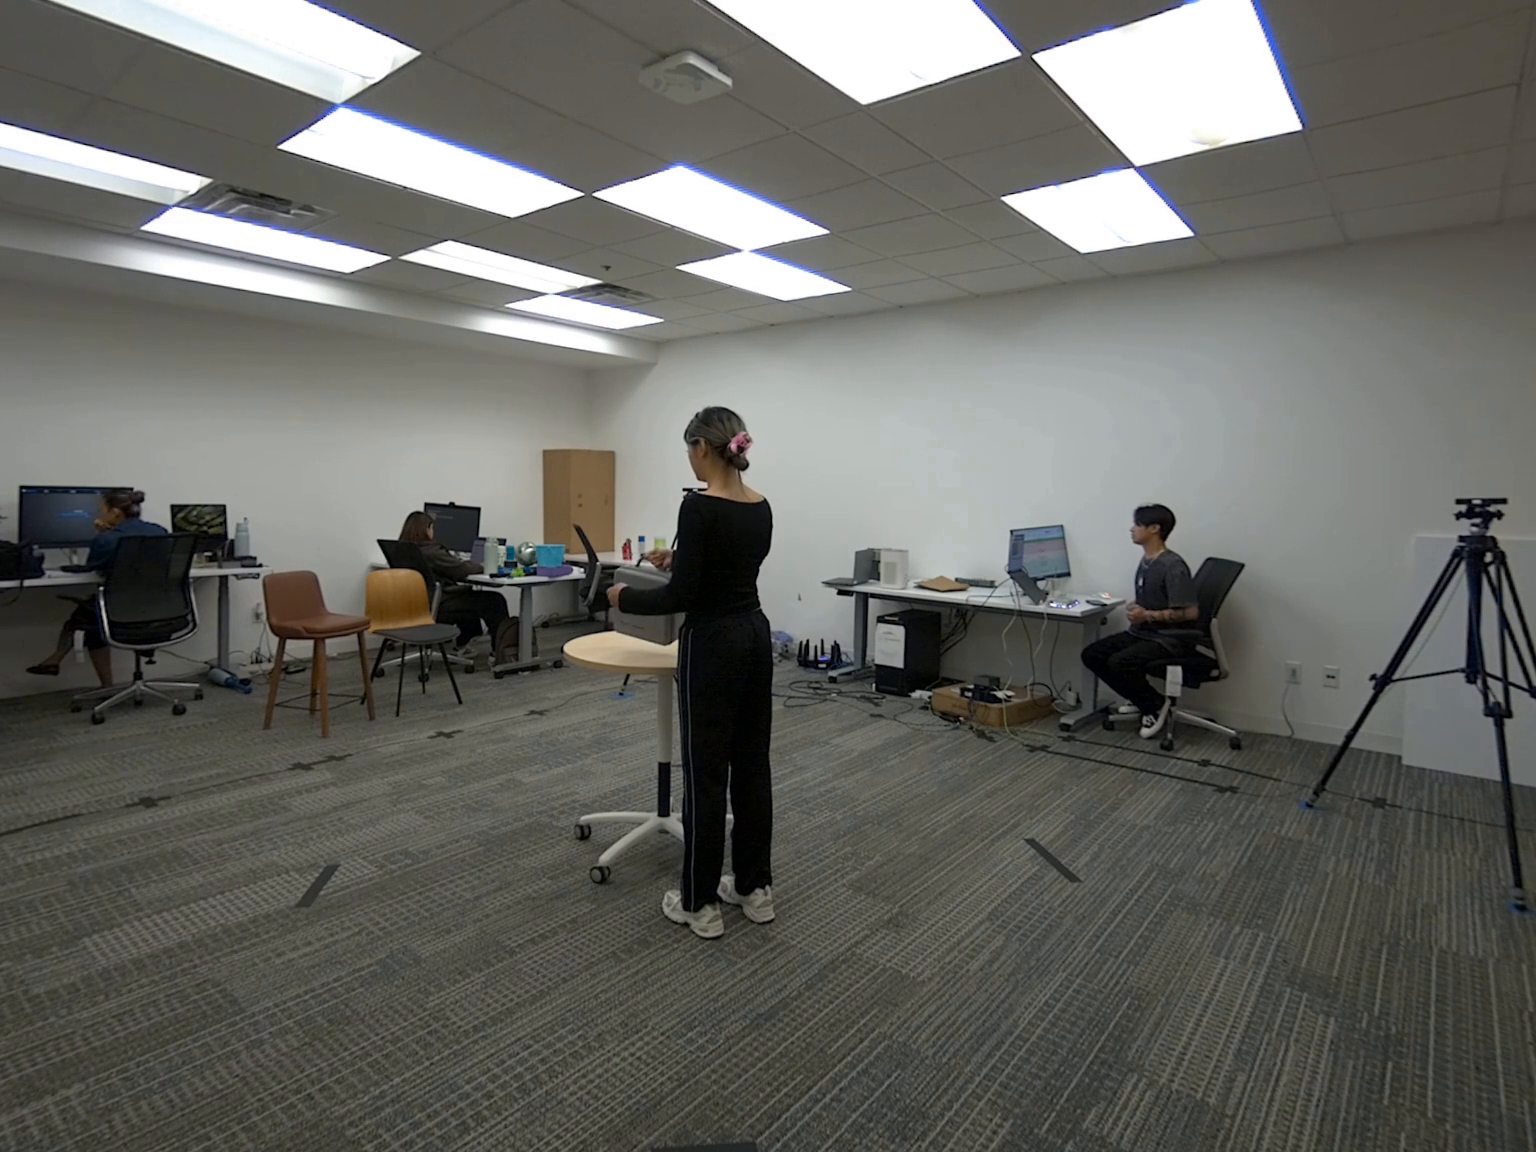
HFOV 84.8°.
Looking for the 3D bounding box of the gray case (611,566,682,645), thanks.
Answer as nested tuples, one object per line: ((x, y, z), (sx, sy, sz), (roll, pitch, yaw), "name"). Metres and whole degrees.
((-0.445, 0.096, 3.044), (0.265, 0.257, 0.102), (12, 15, 29), "gray case")
